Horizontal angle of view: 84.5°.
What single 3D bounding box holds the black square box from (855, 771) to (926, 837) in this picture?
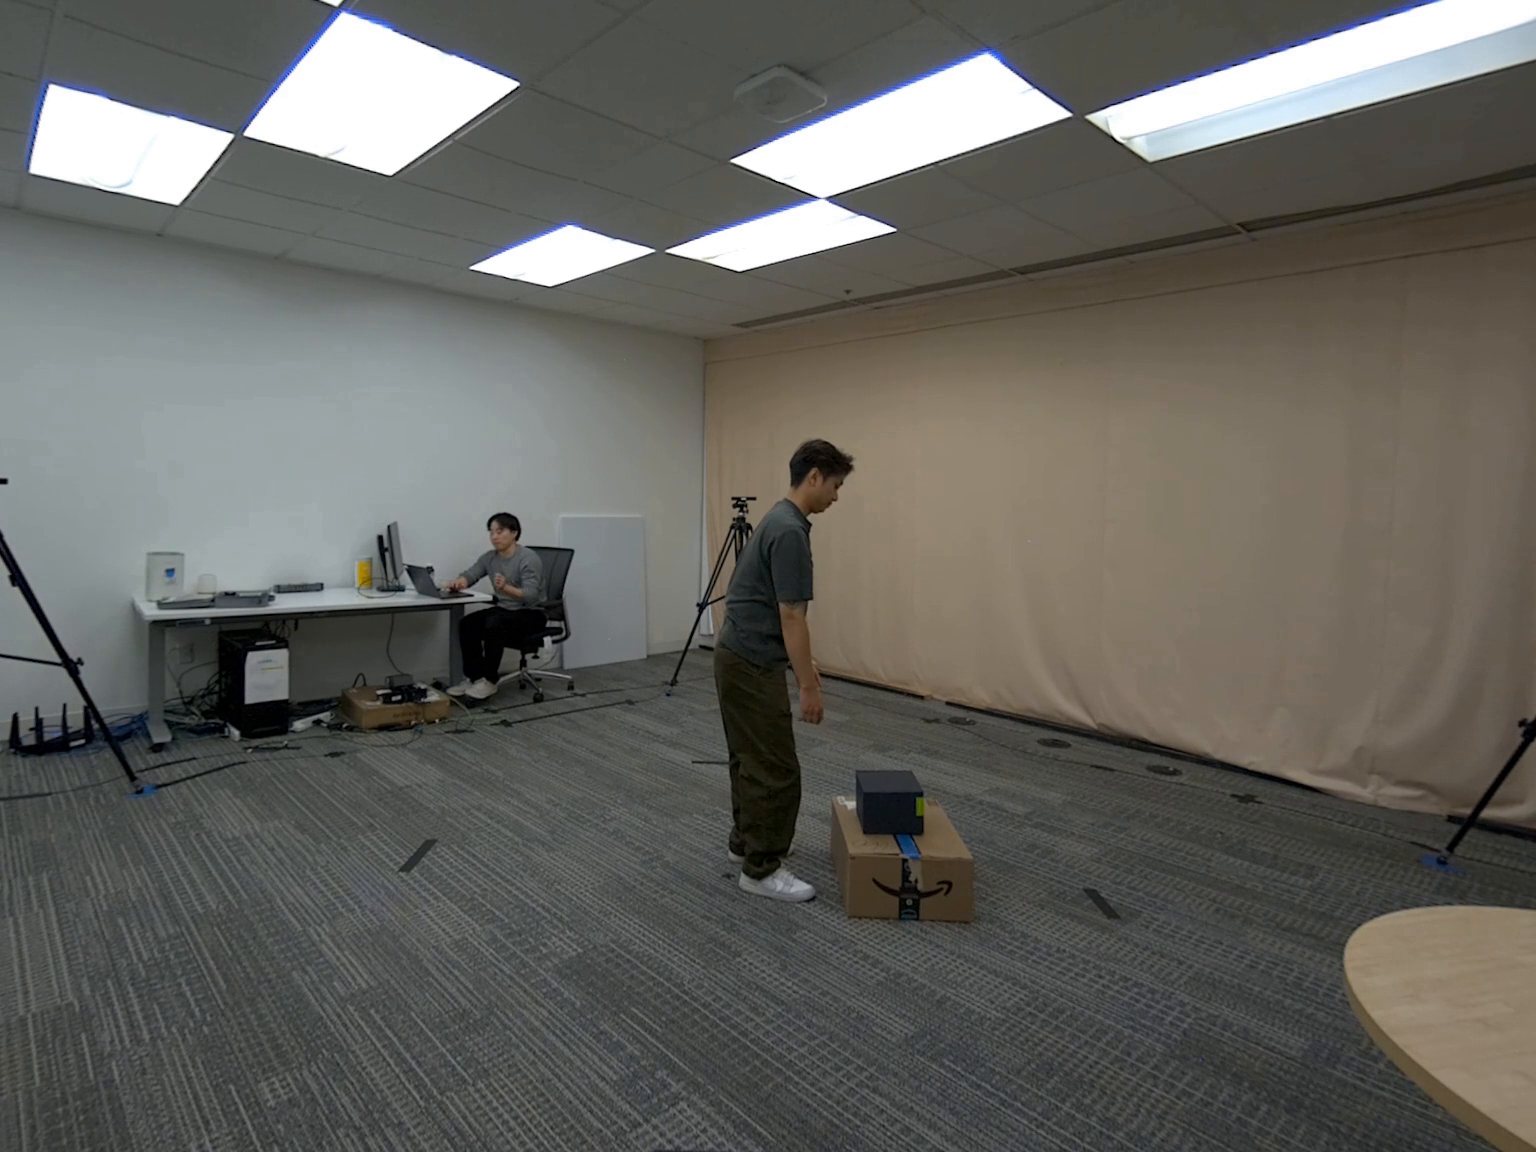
[{"bbox_3d":[0.440,0.823,3.080,0.217,0.155,0.228,0,4,1],"label":"black square box"}]
